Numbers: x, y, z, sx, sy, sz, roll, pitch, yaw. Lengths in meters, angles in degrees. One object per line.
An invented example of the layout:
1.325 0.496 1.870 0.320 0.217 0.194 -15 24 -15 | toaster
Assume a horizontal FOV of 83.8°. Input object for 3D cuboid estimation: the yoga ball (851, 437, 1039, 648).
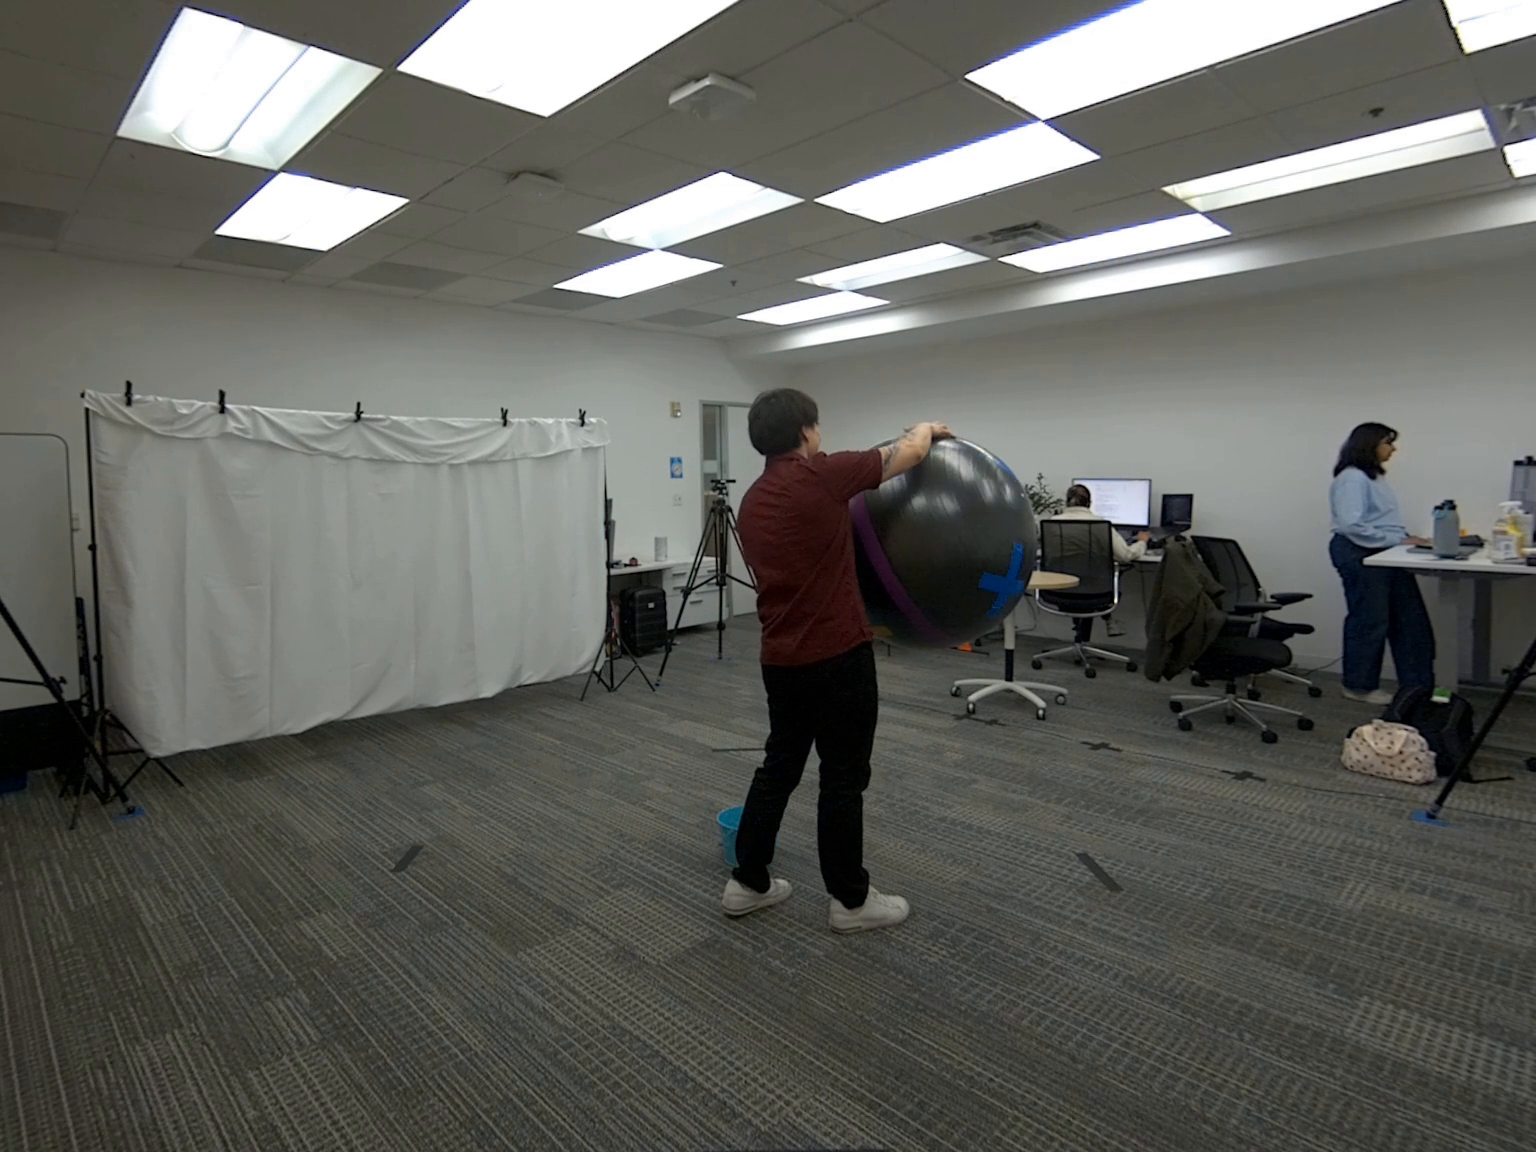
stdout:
0.555 -0.119 2.993 0.757 0.755 0.762 -1 5 -2 | yoga ball
